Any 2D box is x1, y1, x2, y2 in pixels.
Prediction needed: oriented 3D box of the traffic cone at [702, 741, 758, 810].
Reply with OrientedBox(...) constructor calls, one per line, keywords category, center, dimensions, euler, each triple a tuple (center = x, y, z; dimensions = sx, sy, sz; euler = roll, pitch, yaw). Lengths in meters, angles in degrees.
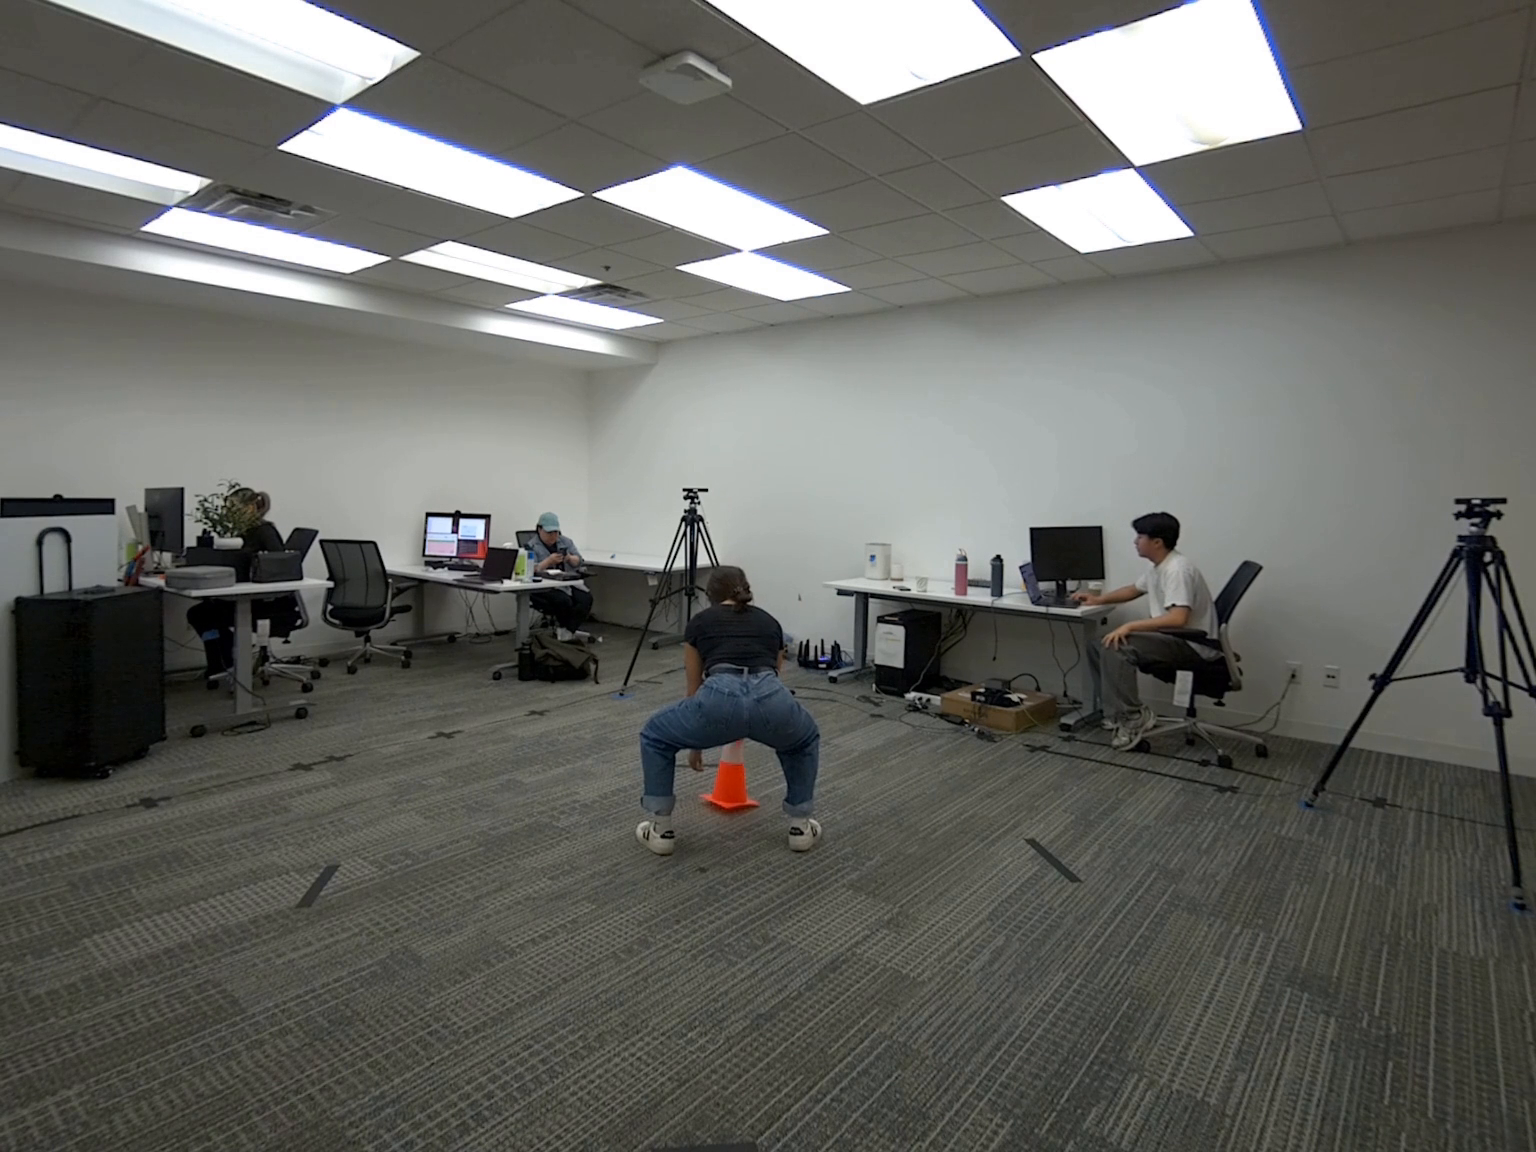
OrientedBox(category="traffic cone", center=(-0.159, 0.786, 3.780), dimensions=(0.196, 0.385, 0.211), euler=(7, -4, -40))
